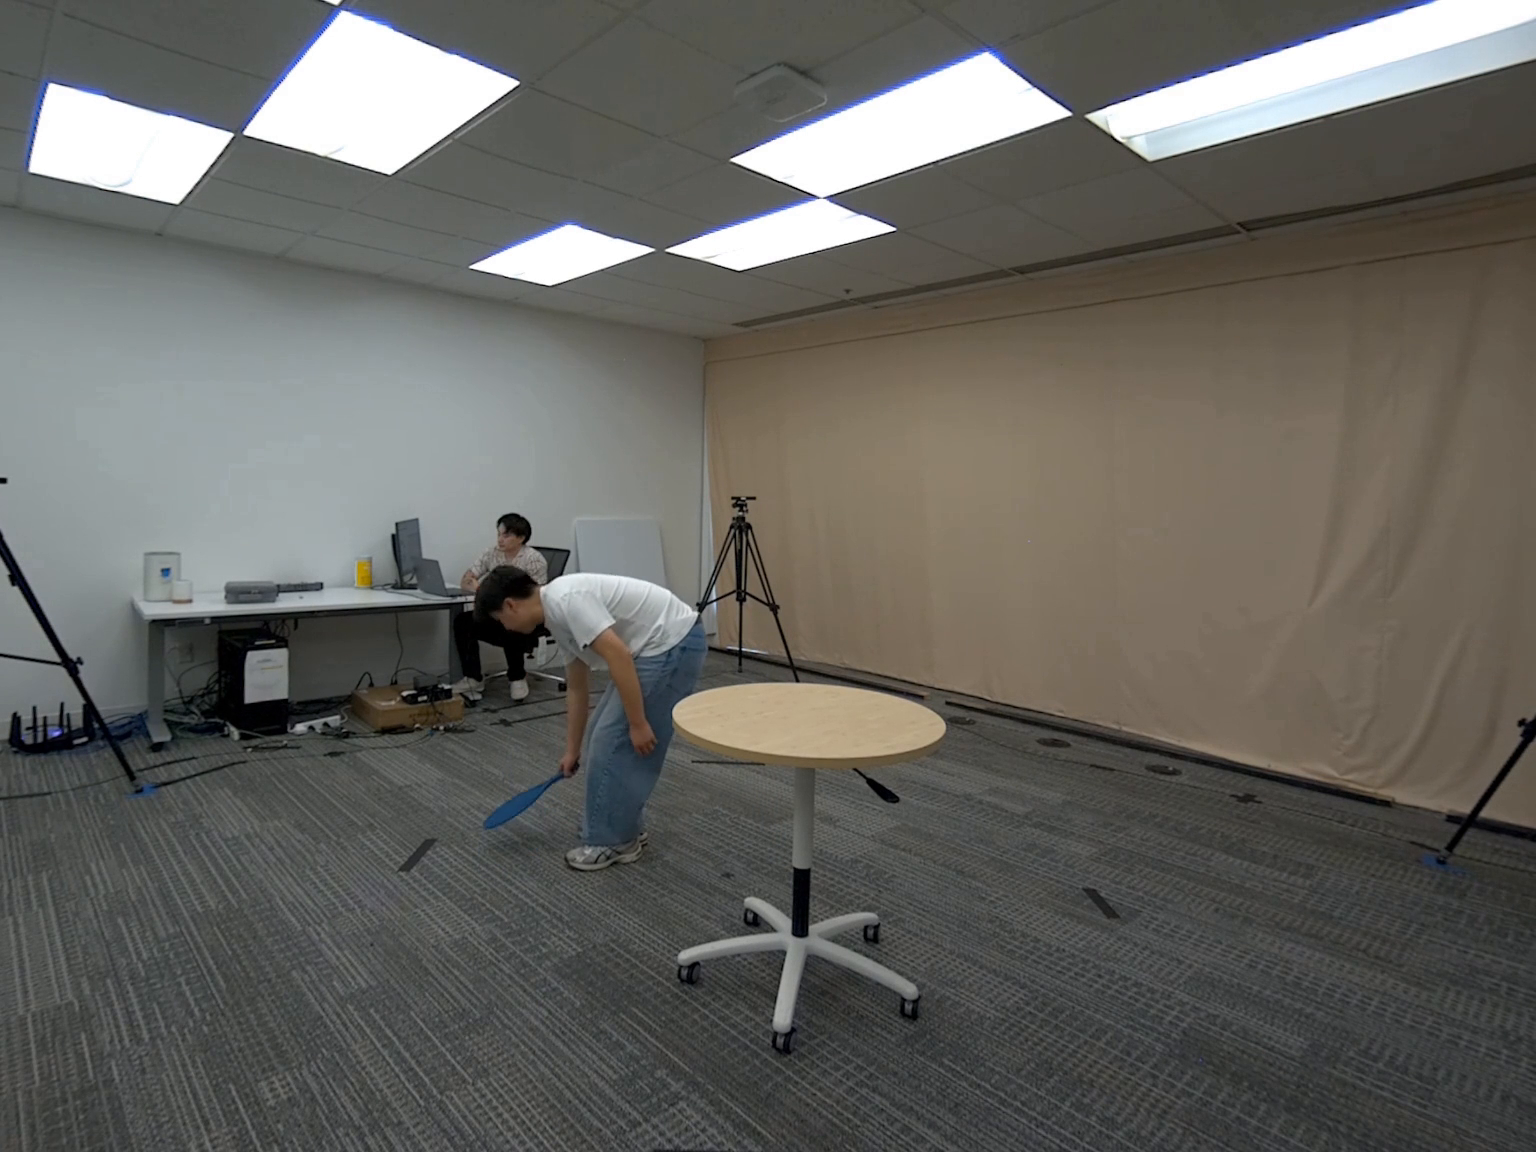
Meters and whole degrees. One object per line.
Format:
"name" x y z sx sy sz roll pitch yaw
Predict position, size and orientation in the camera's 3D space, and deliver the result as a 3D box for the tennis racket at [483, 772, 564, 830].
"tennis racket" -0.934 0.875 3.339 0.429 0.031 0.217 -30 12 -27
